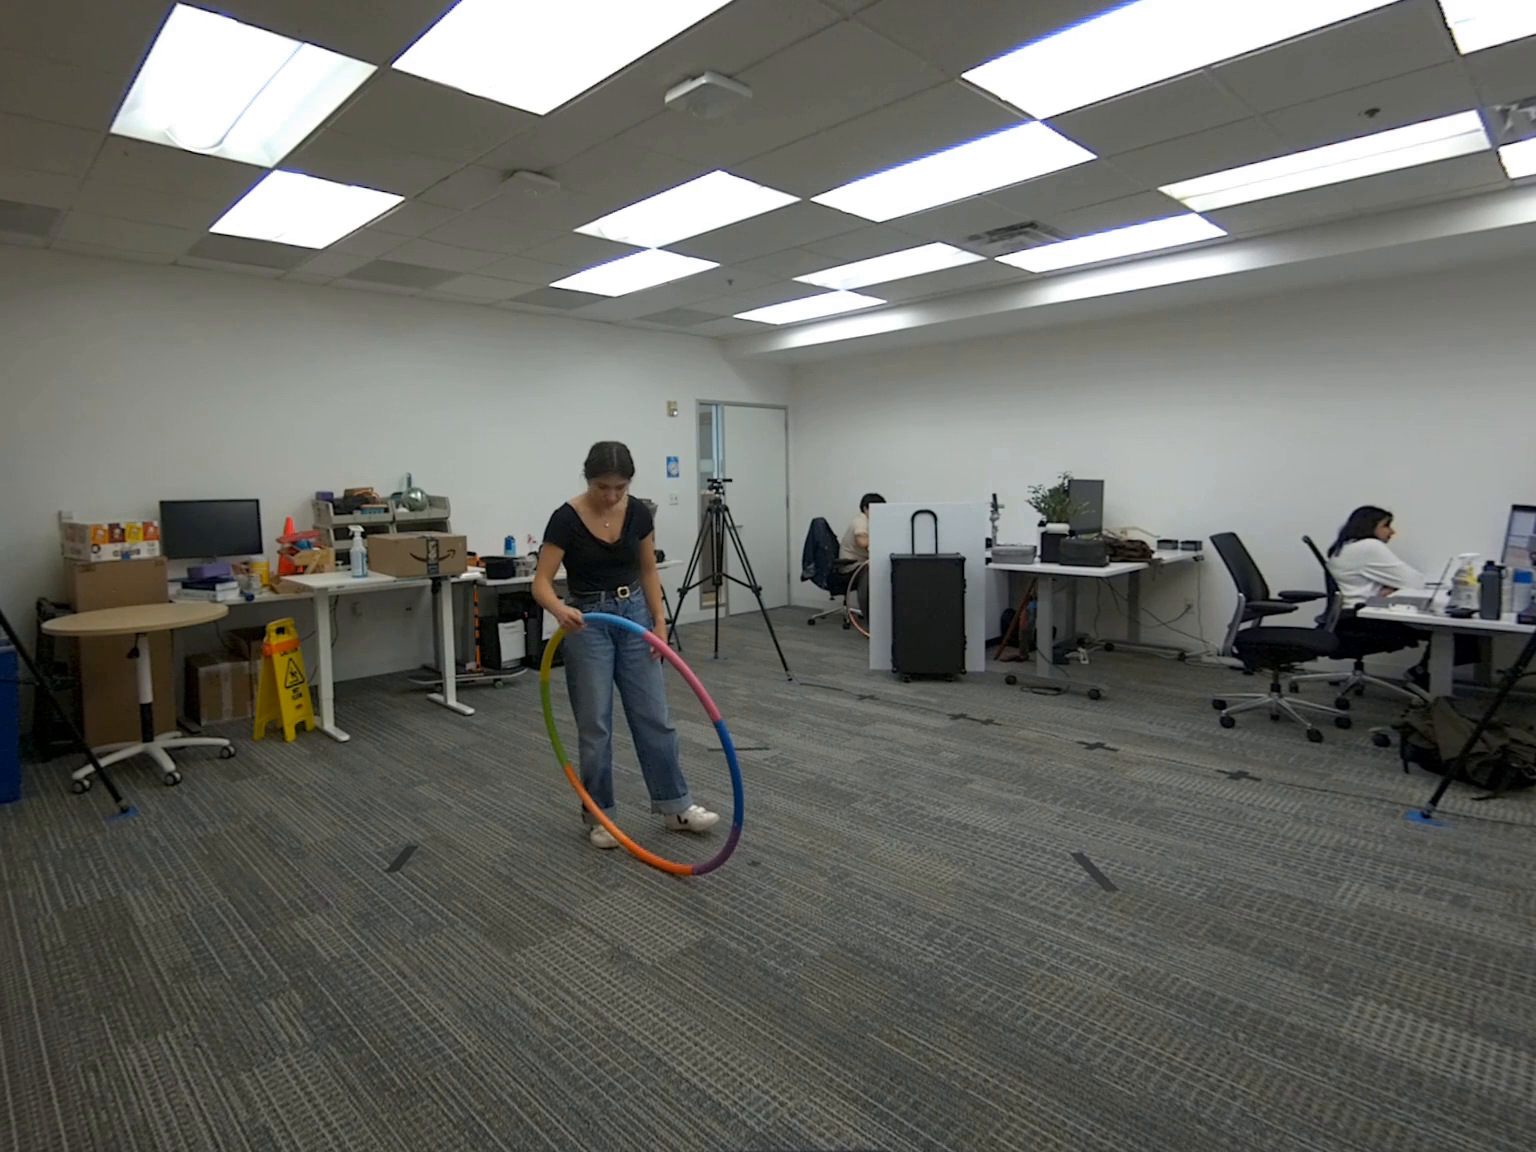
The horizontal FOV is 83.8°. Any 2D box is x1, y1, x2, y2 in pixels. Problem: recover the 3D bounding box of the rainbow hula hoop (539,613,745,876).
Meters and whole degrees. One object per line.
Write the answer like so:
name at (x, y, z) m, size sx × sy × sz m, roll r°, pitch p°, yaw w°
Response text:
rainbow hula hoop at (-0.456, 0.592, 2.962) m, size 1.008 × 0.964 × 0.035 m, roll 3°, pitch 19°, yaw 40°
